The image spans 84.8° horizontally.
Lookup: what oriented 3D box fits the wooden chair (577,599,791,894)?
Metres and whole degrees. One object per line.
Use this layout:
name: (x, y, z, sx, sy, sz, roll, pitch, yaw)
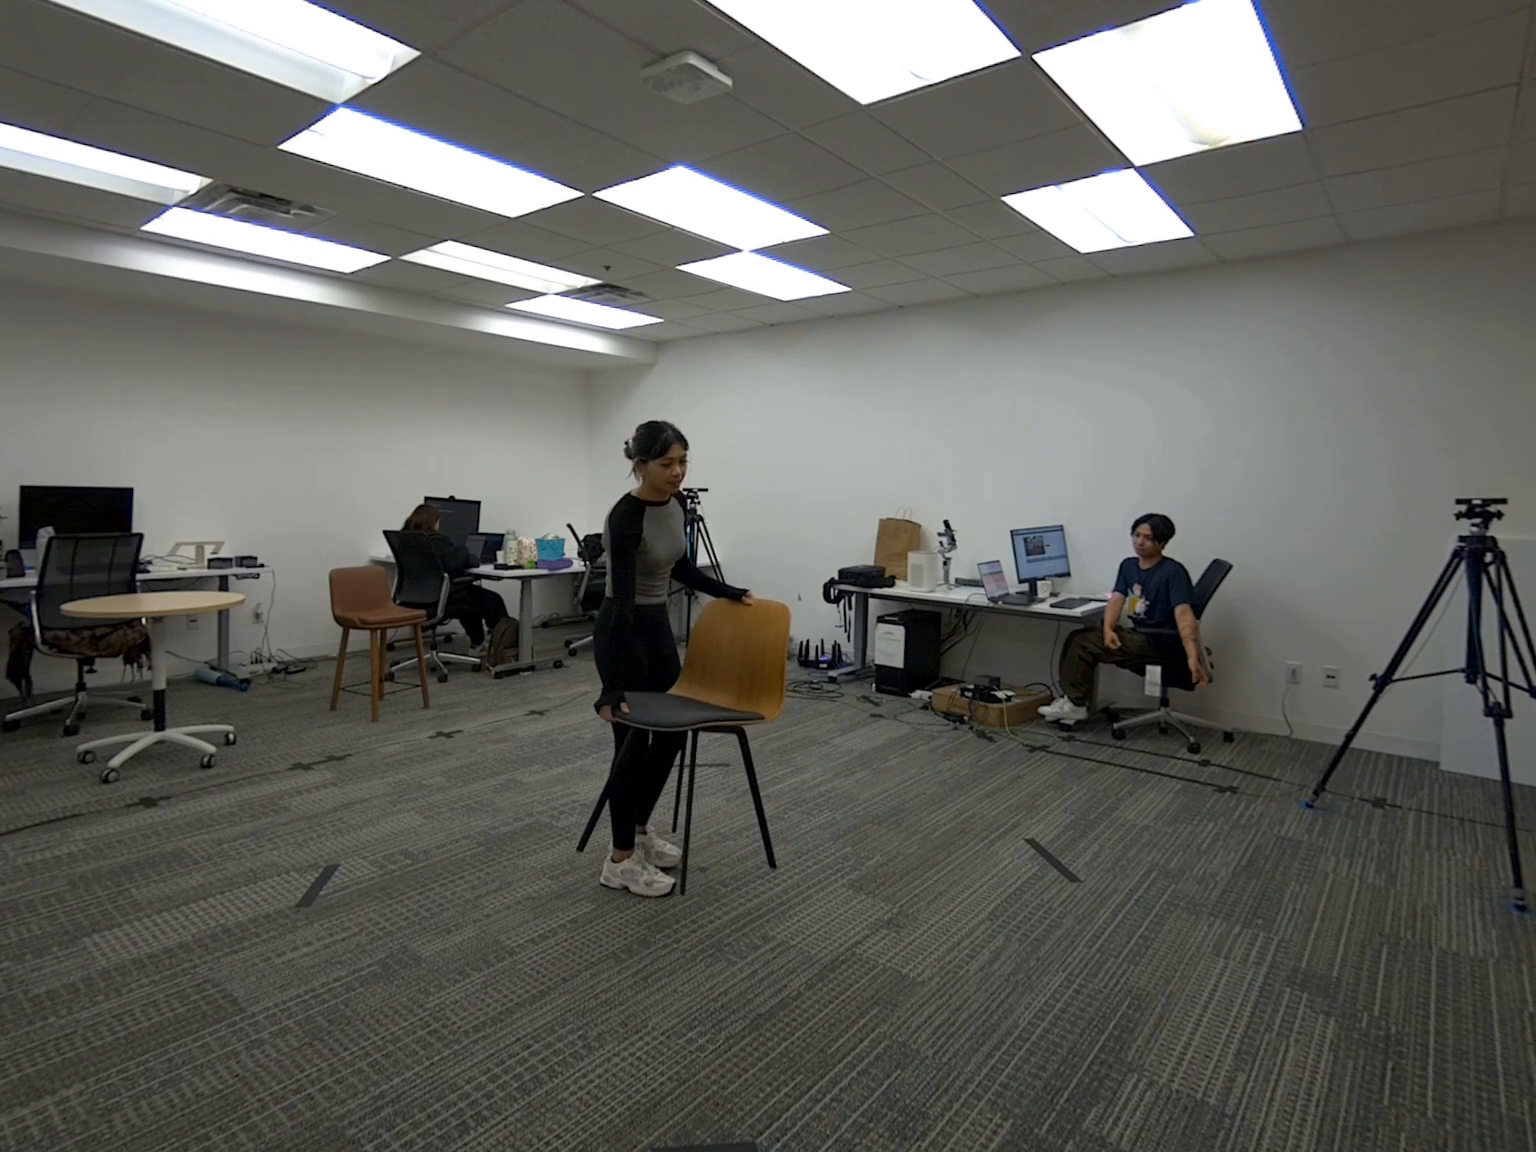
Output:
wooden chair: (-0.251, 0.474, 2.695, 0.494, 0.882, 0.503, 3, -9, 38)
